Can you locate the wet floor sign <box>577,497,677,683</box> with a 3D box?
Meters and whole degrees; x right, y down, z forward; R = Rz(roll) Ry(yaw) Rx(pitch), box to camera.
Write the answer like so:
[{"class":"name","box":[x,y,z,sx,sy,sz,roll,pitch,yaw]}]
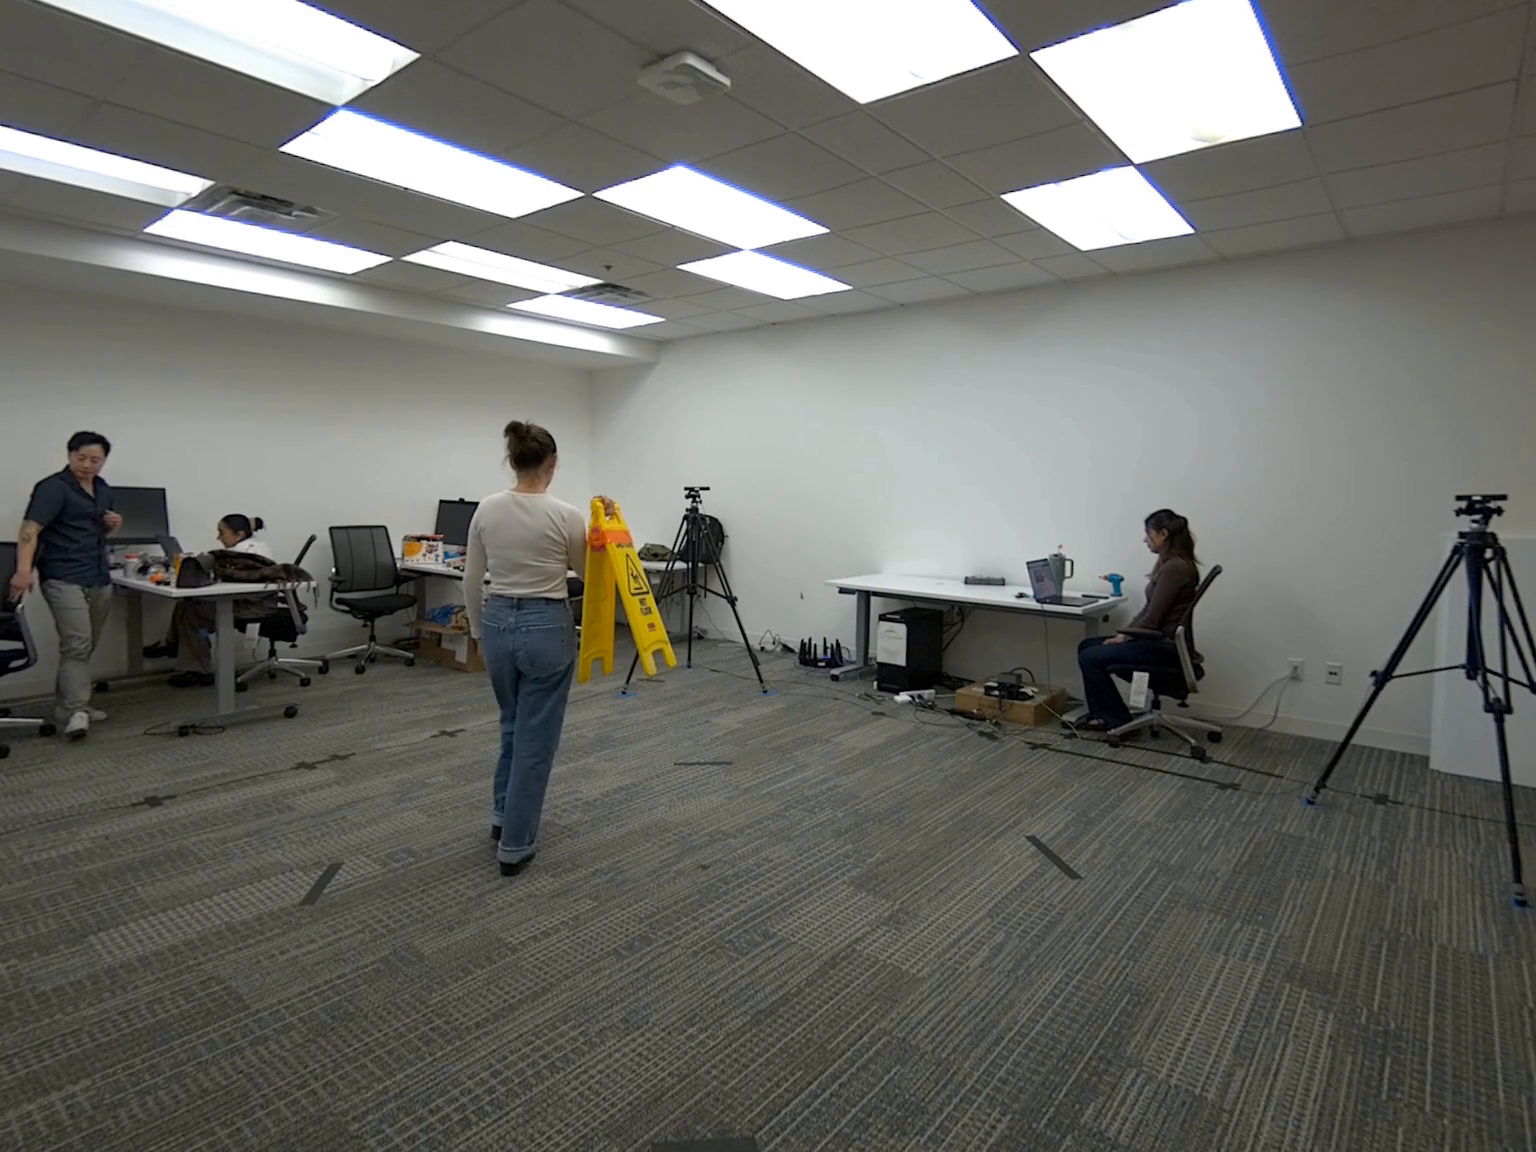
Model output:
[{"class":"wet floor sign","box":[-0.576,0.040,3.121,0.294,0.648,0.277,-9,-3,16]}]
